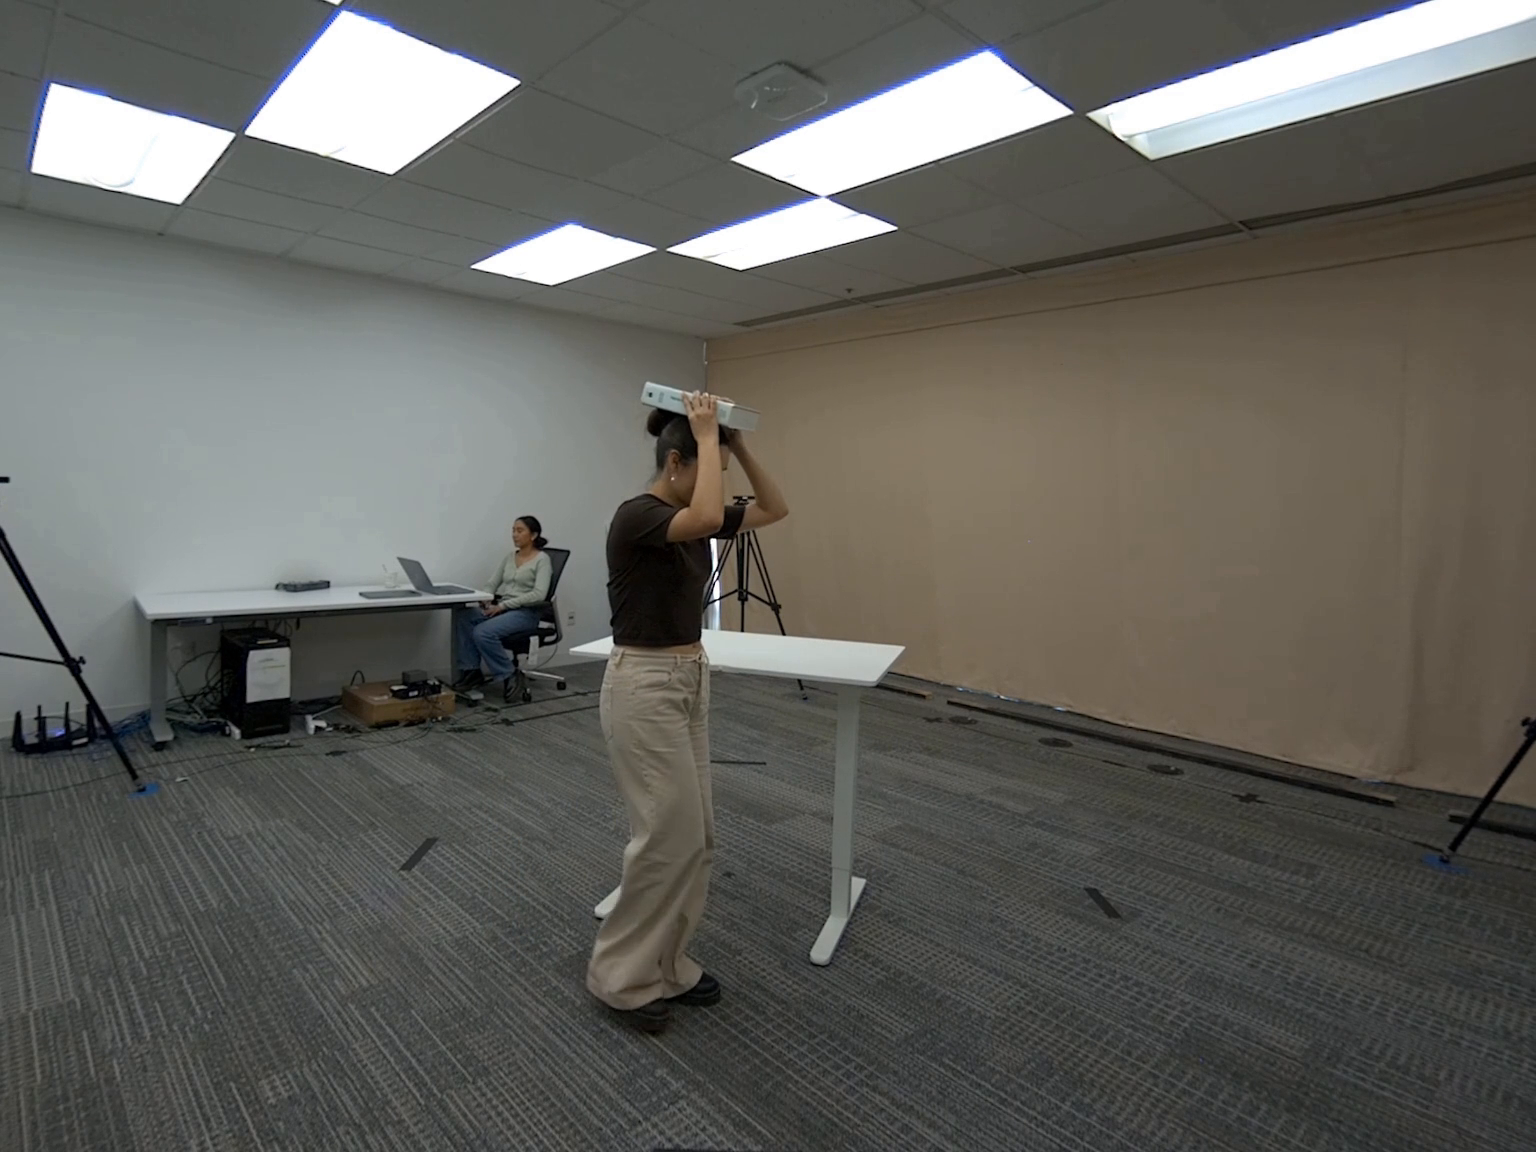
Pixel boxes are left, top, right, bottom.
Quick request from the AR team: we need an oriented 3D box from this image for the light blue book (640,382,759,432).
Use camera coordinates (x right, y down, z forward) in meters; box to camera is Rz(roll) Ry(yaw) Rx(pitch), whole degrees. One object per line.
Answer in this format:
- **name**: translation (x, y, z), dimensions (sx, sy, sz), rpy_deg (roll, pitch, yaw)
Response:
- **light blue book**: translation (-0.191, -0.446, 2.217), dimensions (0.266, 0.059, 0.188), rpy_deg (18, 10, 21)
